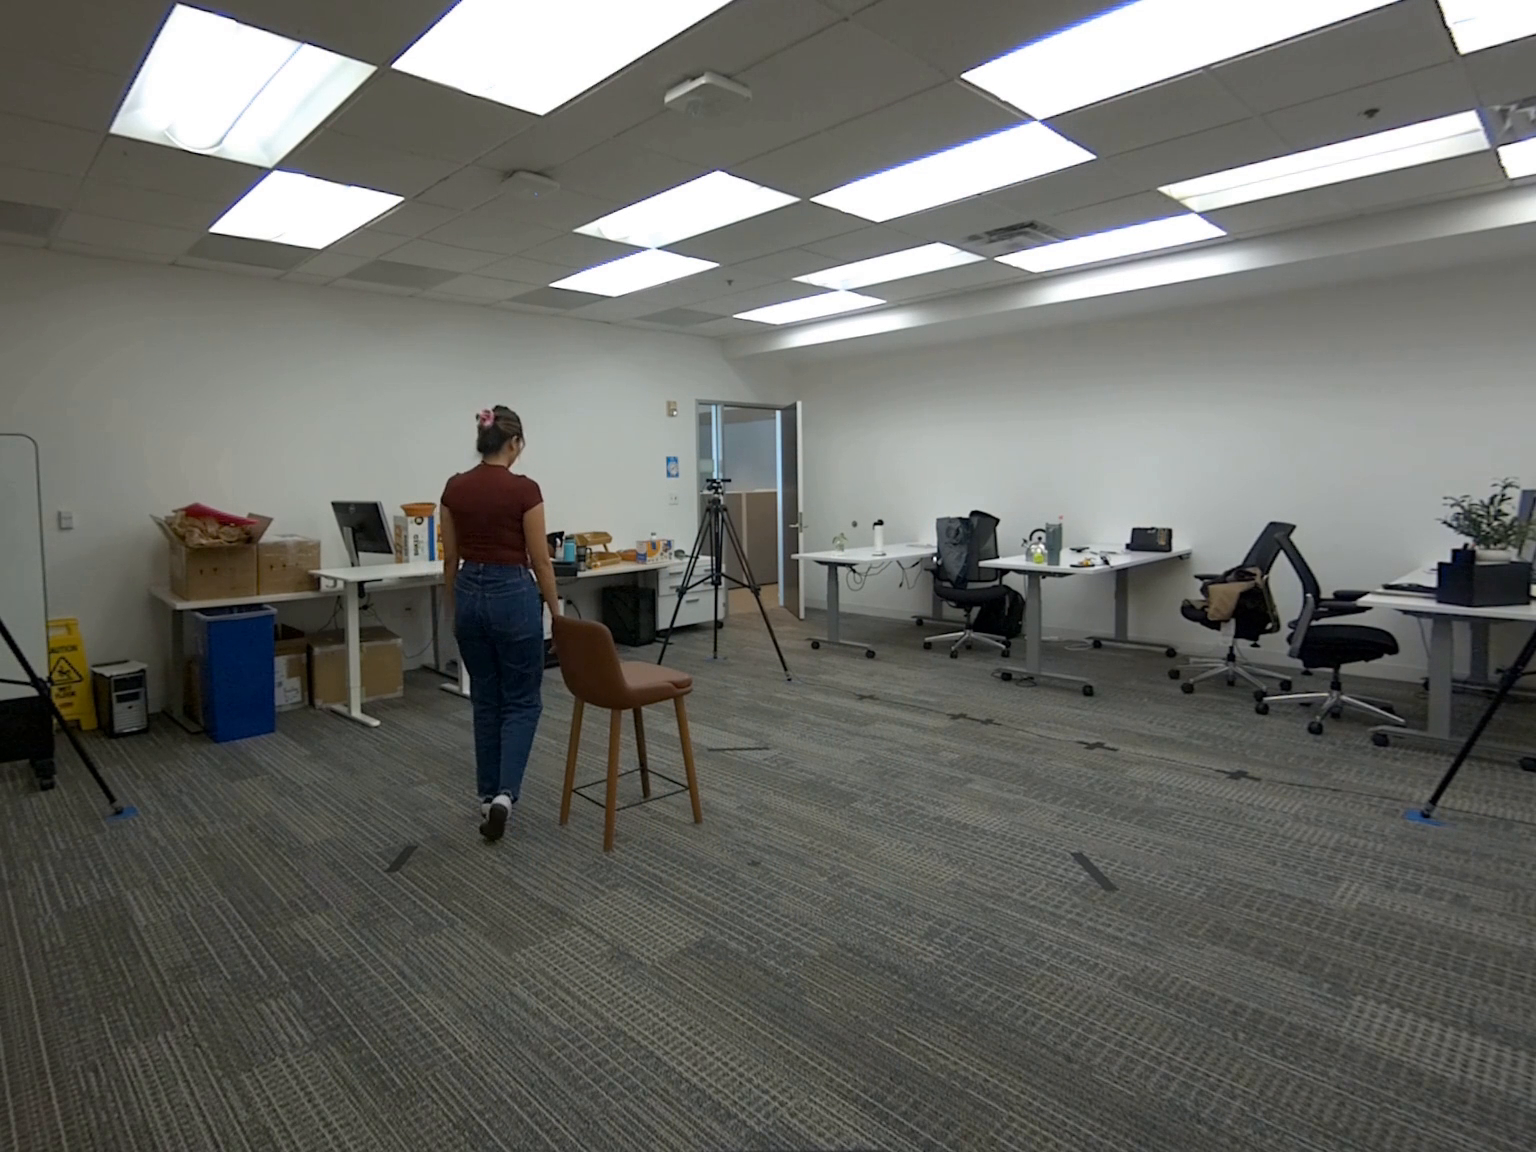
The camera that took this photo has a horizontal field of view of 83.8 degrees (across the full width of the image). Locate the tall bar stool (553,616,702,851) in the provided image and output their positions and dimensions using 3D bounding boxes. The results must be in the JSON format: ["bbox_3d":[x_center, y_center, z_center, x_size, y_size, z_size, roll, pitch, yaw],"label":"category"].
[{"bbox_3d":[-0.581,0.580,3.472,0.456,0.886,0.470,-7,6,-40],"label":"tall bar stool"}]
